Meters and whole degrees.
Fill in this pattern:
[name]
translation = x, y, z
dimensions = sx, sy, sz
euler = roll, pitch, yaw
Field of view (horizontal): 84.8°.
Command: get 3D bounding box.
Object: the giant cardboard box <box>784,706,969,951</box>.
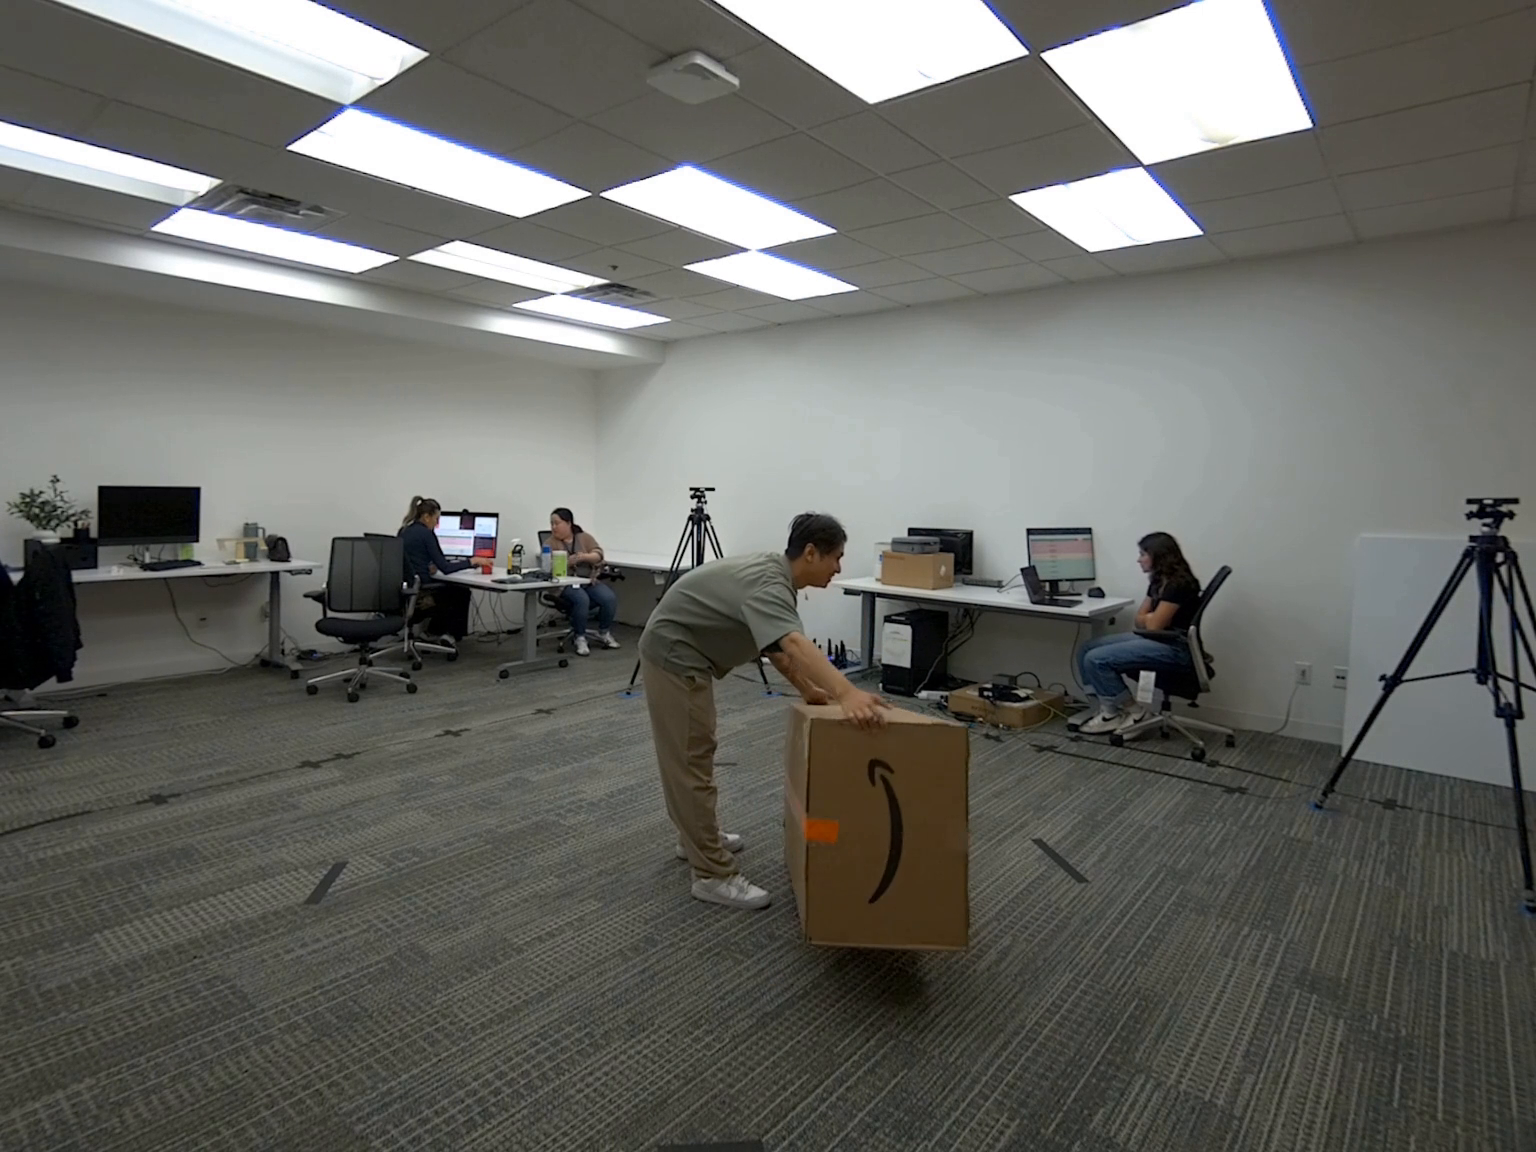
[giant cardboard box]
translation = 0.296, 0.720, 2.735
dimensions = 0.426, 0.582, 1.018
euler = 2, -7, -2
